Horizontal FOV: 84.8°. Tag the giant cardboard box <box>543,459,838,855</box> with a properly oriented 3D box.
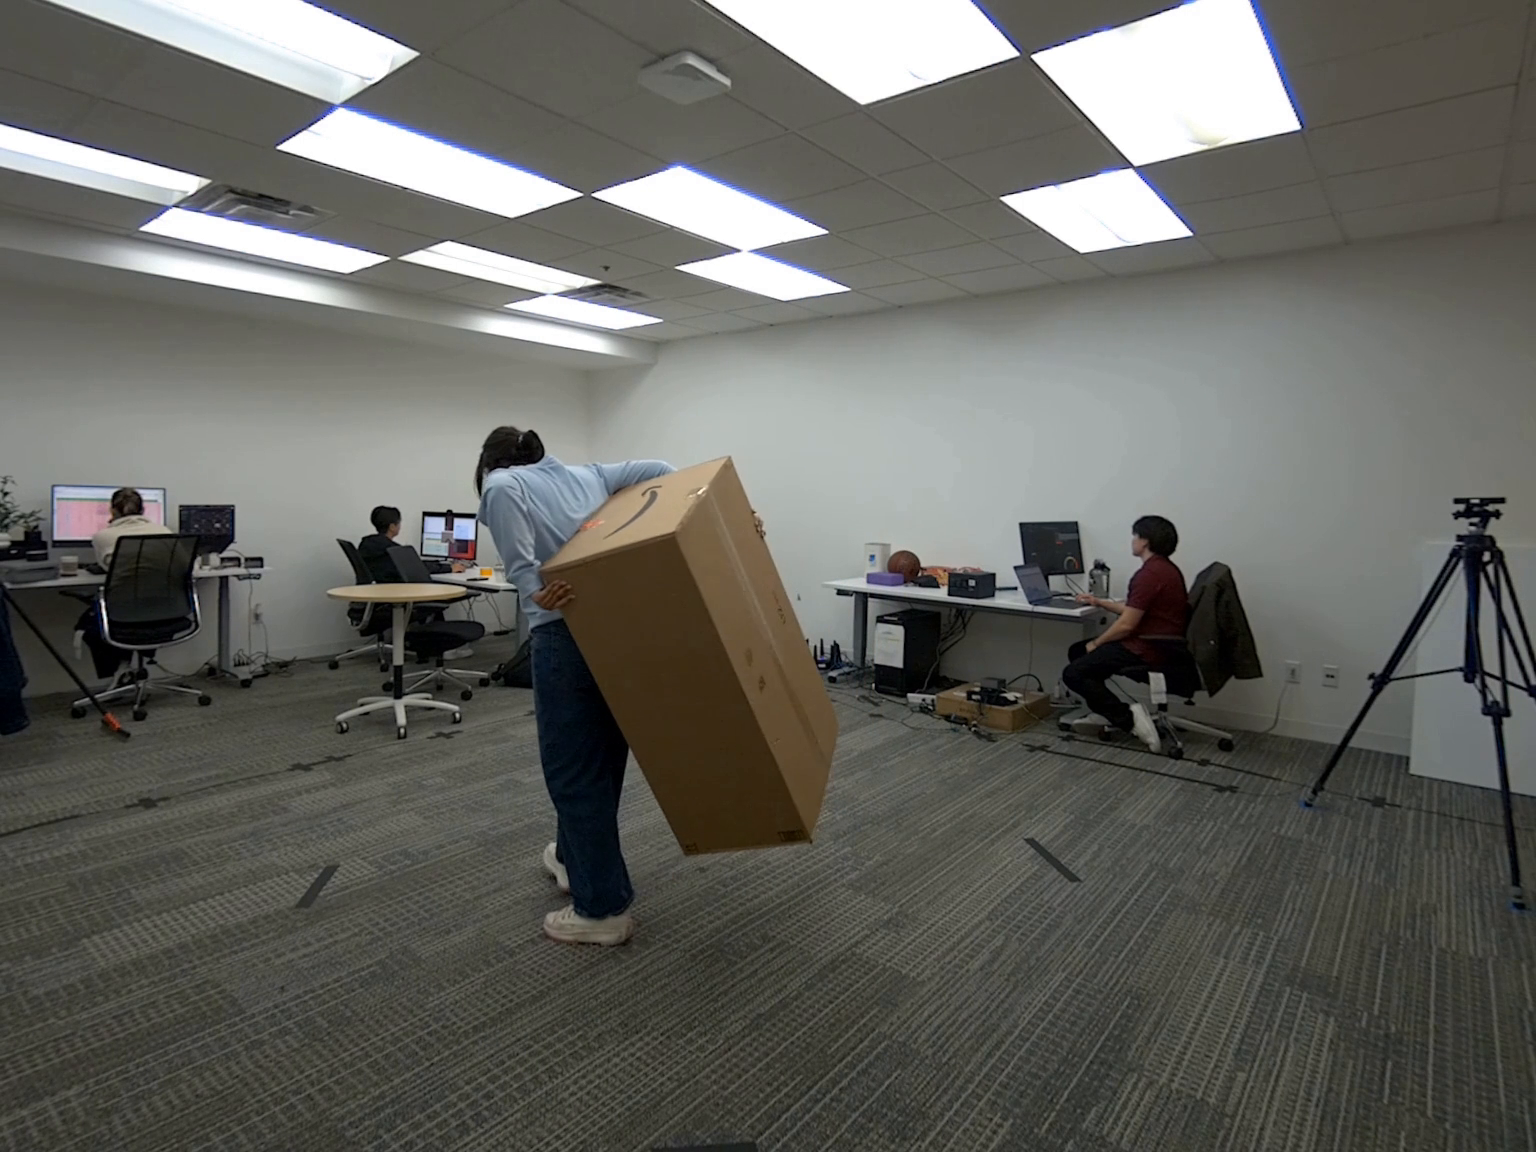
[{"bbox_3d":[-0.192,0.247,2.607,0.433,1.002,0.582,-15,21,21],"label":"giant cardboard box"}]
